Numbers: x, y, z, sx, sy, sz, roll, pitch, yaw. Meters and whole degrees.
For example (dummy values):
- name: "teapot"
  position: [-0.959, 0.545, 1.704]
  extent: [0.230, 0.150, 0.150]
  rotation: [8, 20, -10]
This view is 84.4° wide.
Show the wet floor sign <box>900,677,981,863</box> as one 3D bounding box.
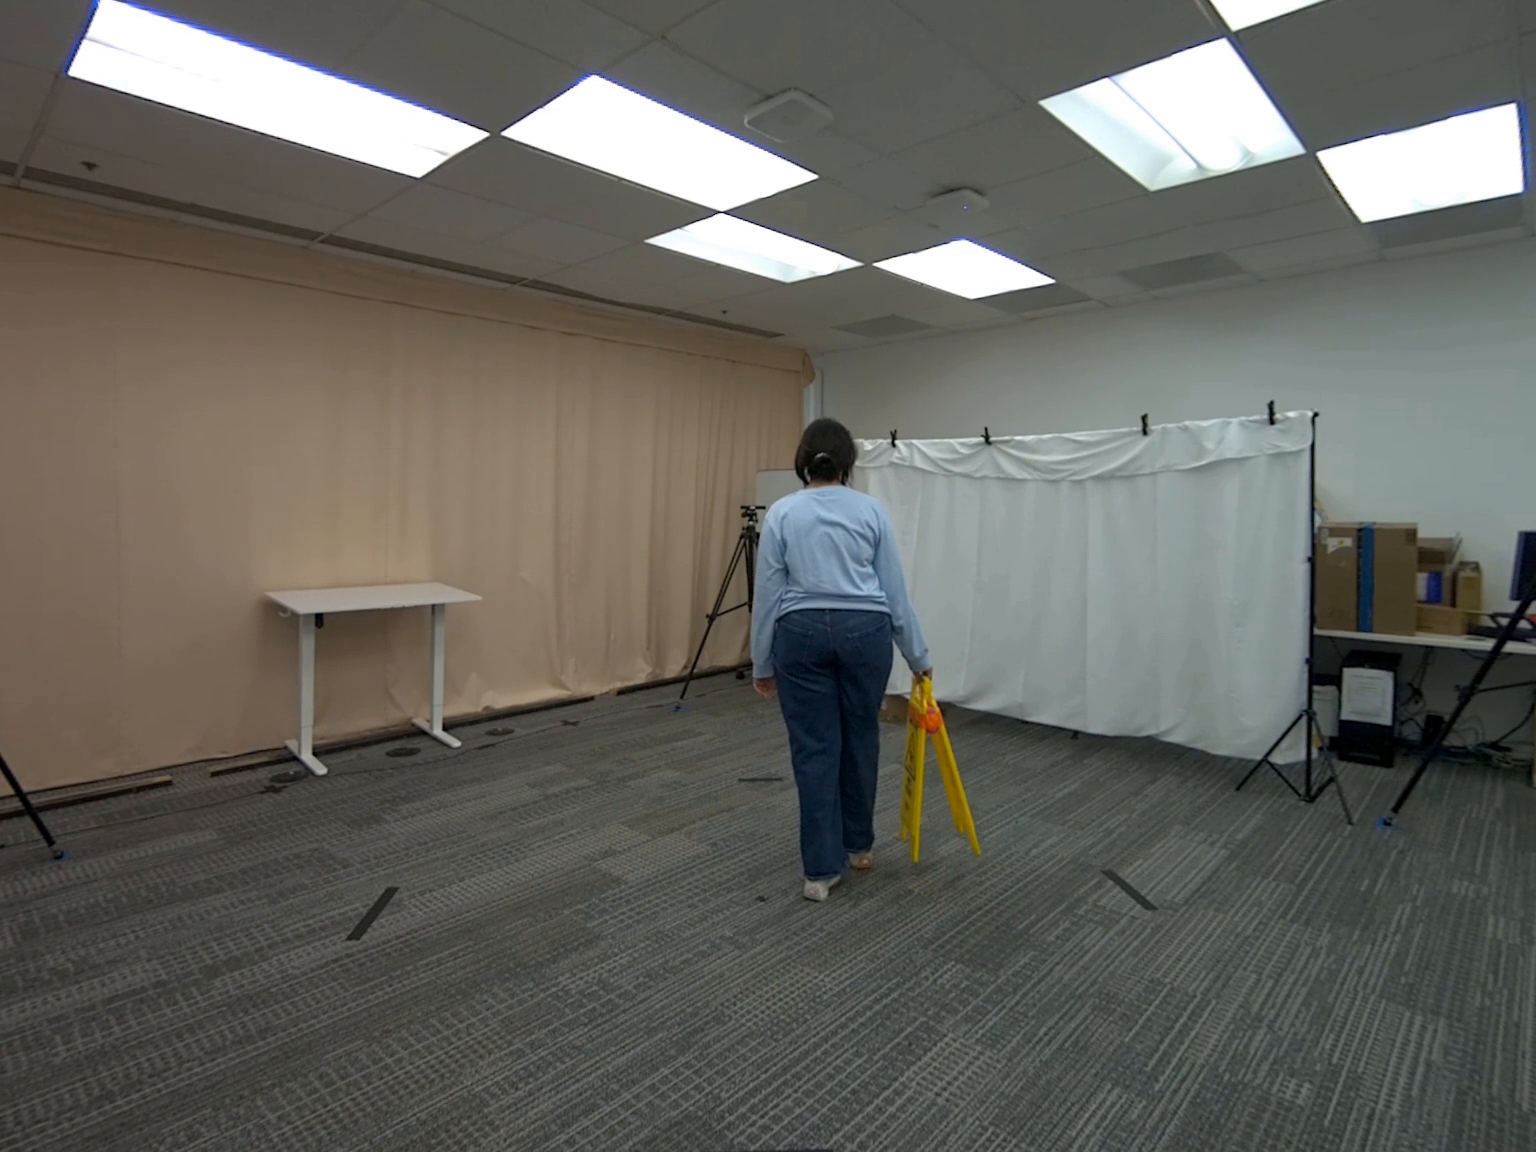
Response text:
- name: "wet floor sign"
  position: [0.616, 0.696, 3.147]
  extent: [0.289, 0.644, 0.283]
  rotation: [-5, 3, -2]
